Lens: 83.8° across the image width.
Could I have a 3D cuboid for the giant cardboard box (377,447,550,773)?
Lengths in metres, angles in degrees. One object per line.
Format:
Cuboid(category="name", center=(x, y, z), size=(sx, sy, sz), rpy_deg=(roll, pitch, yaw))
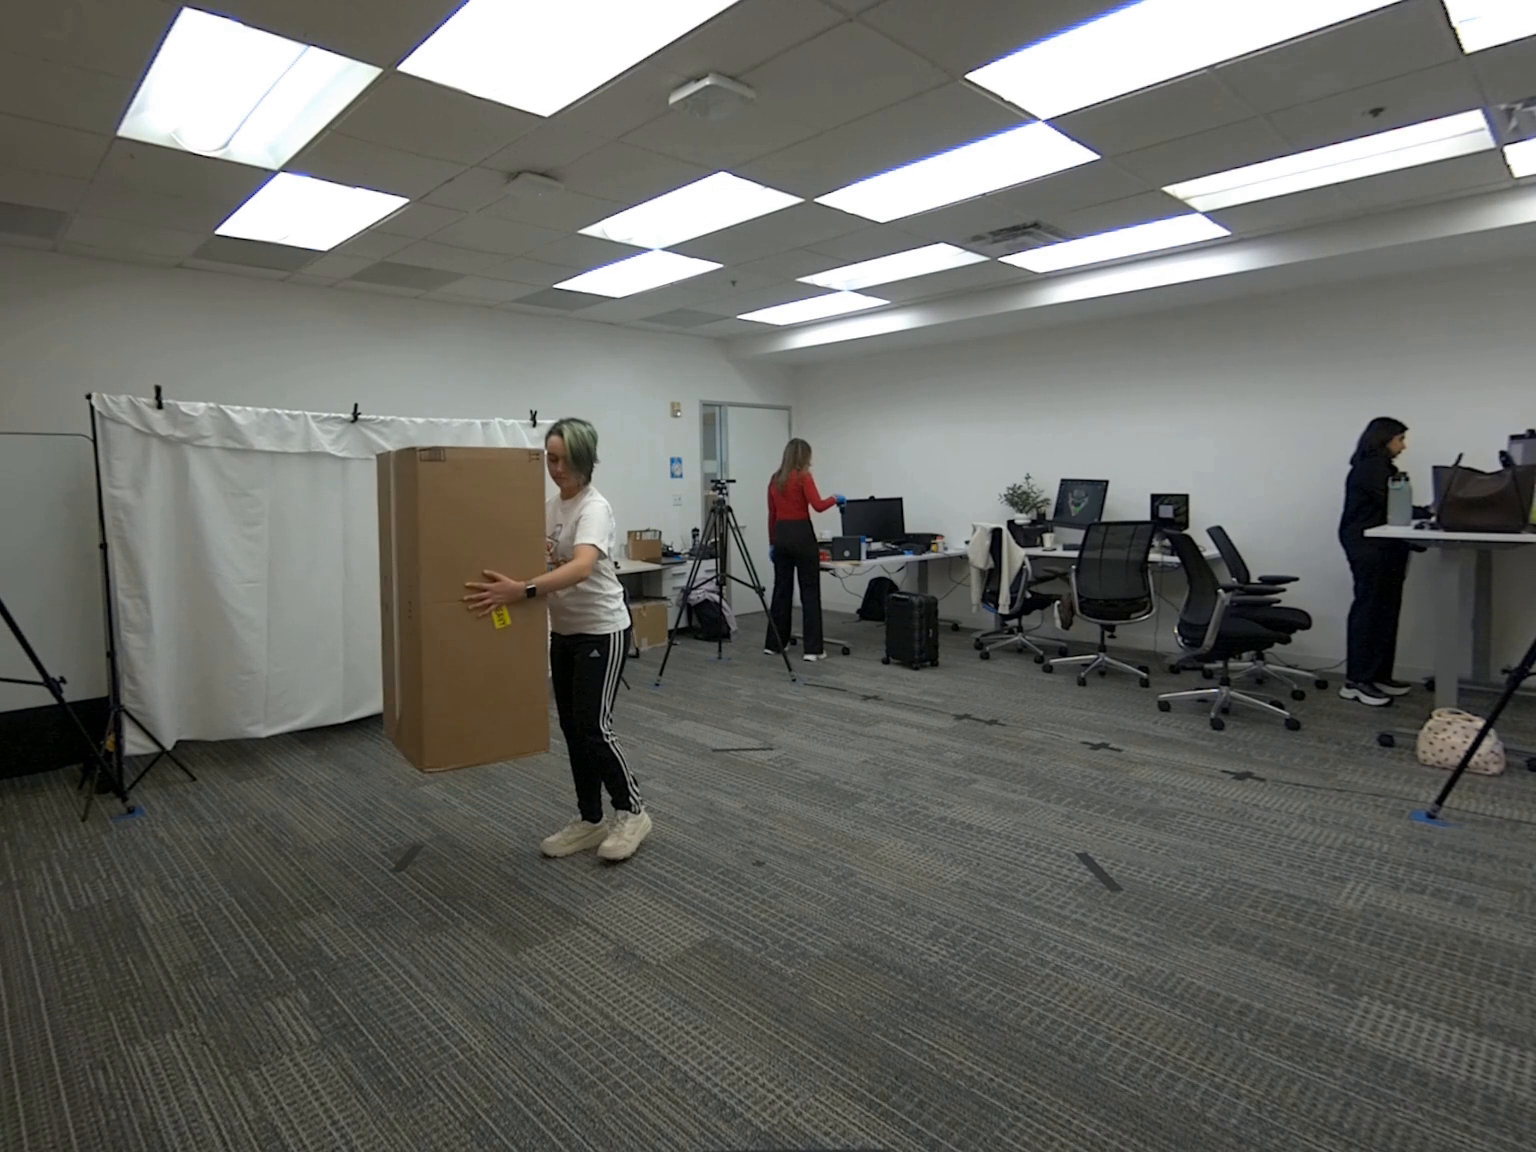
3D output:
Cuboid(category="giant cardboard box", center=(-1.072, 0.082, 2.981), size=(0.435, 1.024, 0.601), rpy_deg=(-3, 4, -36))
